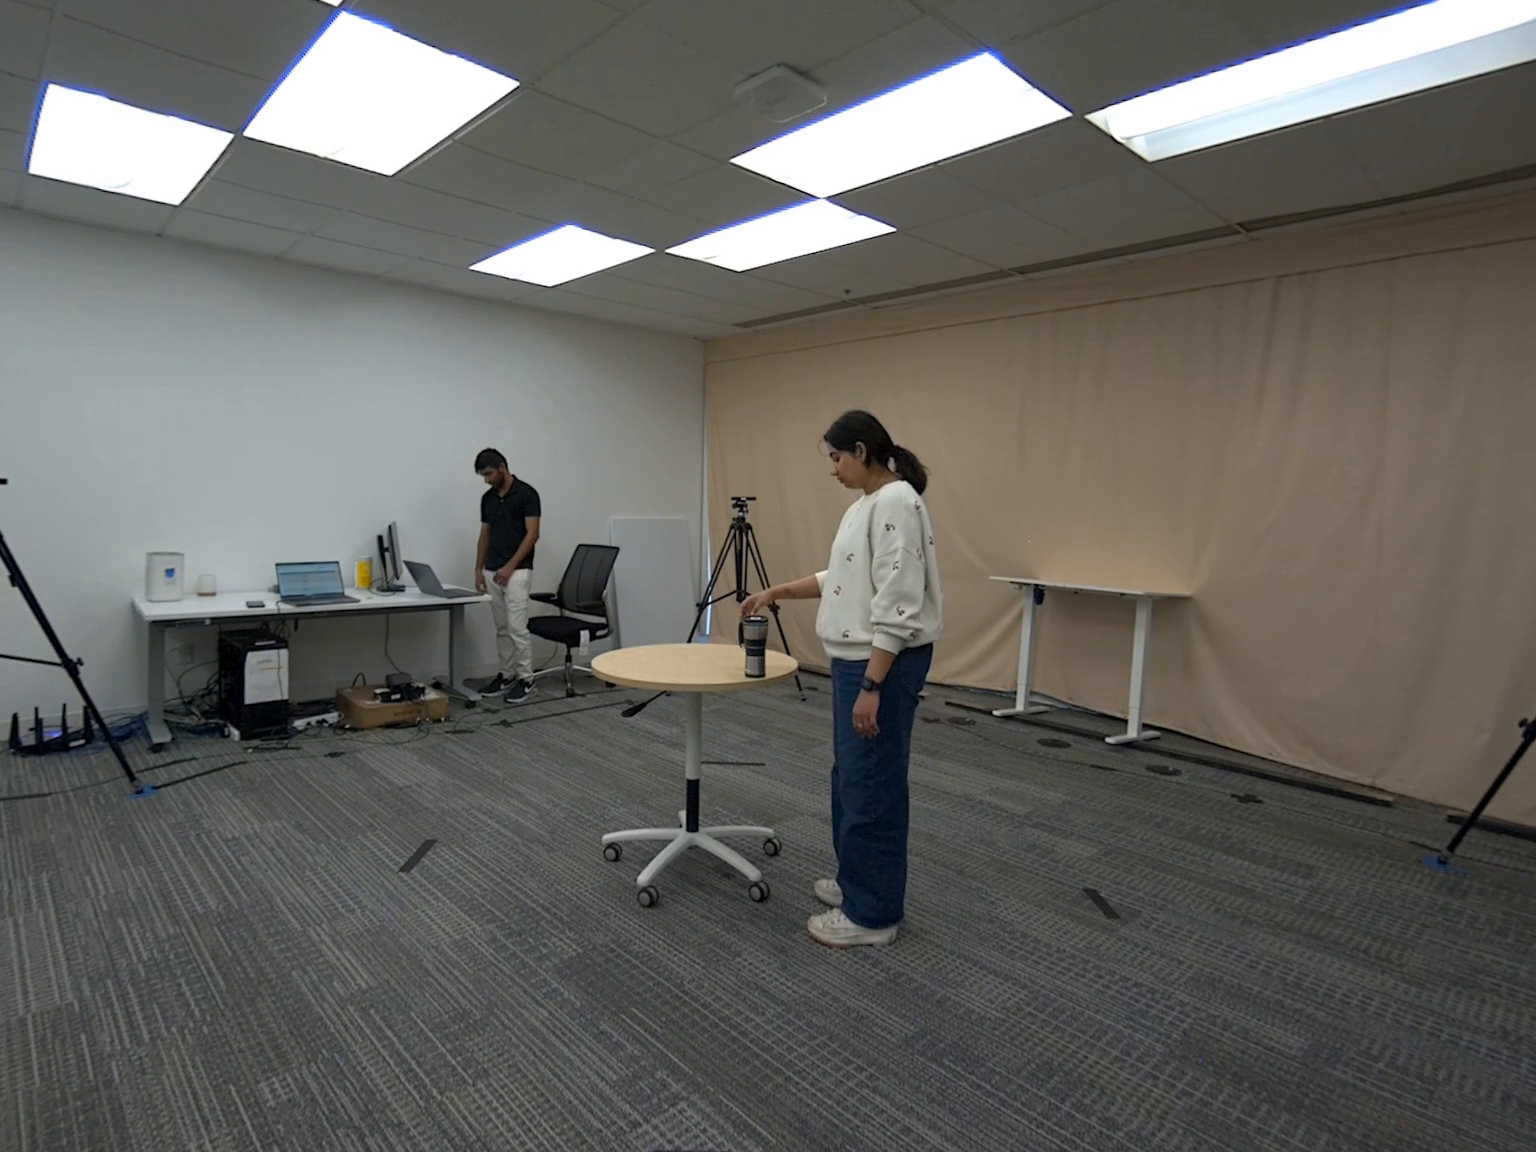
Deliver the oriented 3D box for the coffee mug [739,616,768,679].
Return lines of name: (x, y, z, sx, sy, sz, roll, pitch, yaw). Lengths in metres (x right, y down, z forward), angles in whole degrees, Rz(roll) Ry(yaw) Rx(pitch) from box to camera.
coffee mug: (-0.030, 0.244, 2.895, 0.119, 0.202, 0.090, -6, 4, -43)
